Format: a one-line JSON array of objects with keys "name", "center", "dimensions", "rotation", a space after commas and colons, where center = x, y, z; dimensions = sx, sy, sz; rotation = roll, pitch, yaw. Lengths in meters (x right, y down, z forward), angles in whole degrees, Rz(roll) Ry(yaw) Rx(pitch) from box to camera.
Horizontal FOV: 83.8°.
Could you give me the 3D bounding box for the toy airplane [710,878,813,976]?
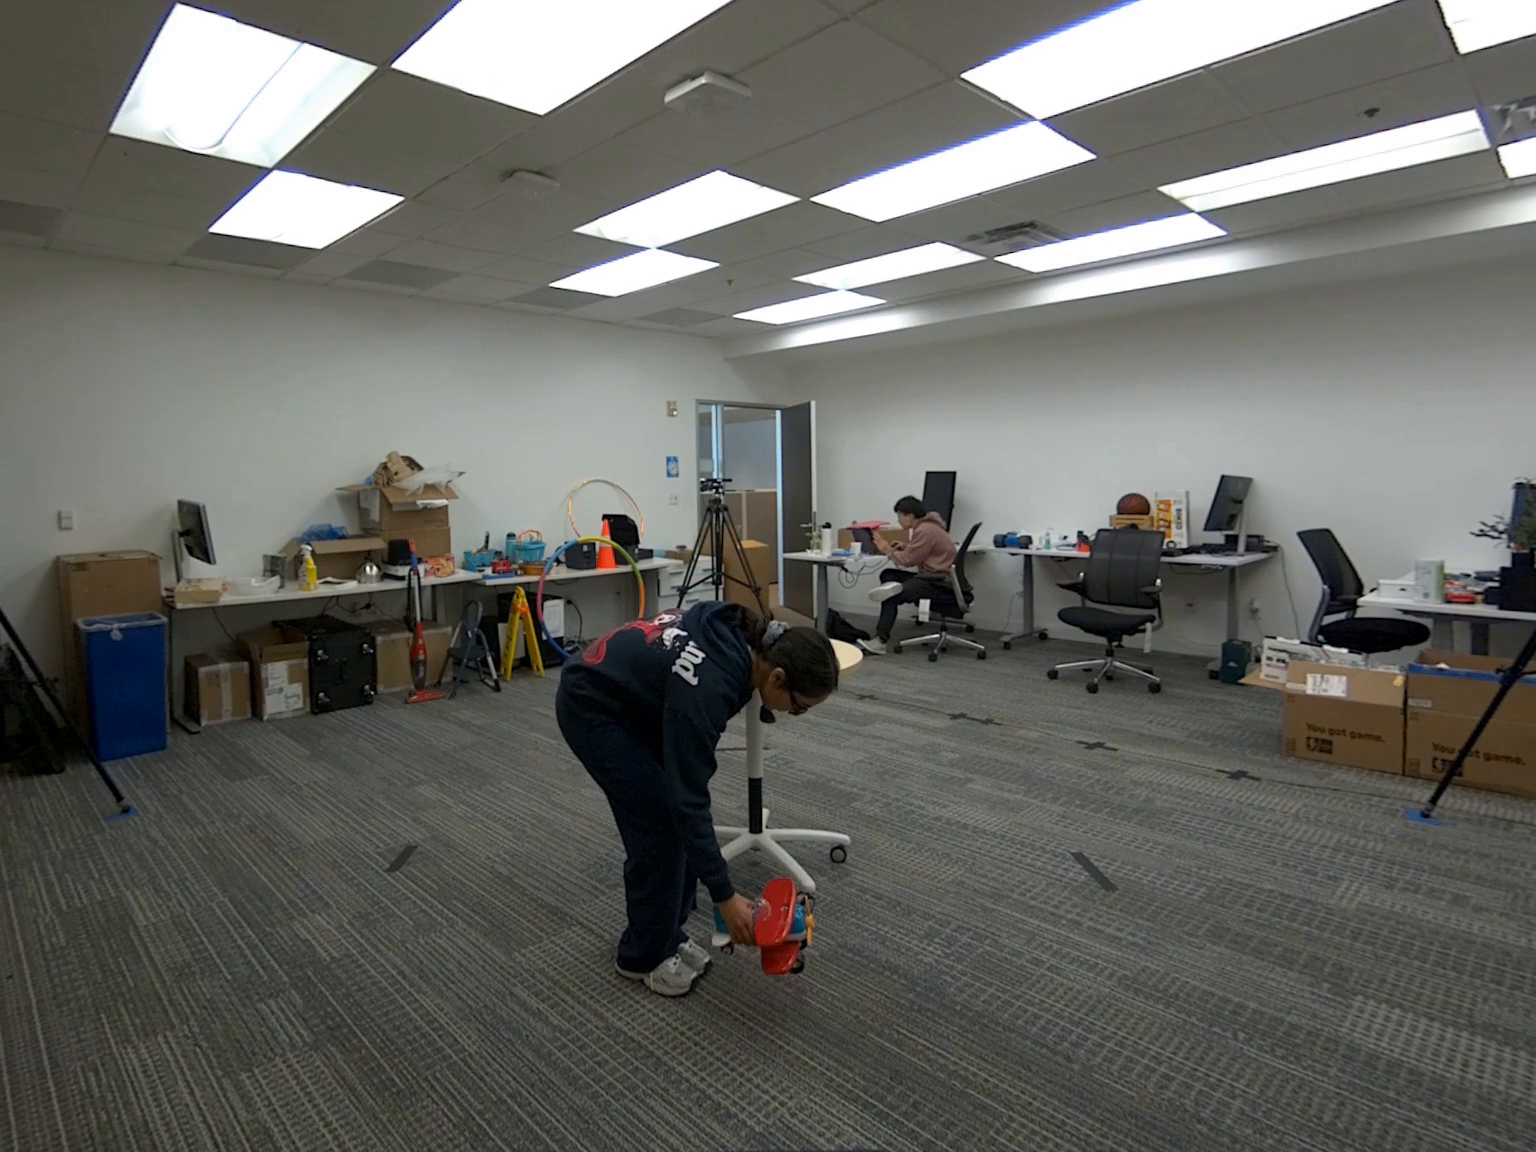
[{"name": "toy airplane", "center": [-0.011, 0.909, 2.173], "dimensions": [0.255, 0.154, 0.258], "rotation": [-4, 17, -18]}]
